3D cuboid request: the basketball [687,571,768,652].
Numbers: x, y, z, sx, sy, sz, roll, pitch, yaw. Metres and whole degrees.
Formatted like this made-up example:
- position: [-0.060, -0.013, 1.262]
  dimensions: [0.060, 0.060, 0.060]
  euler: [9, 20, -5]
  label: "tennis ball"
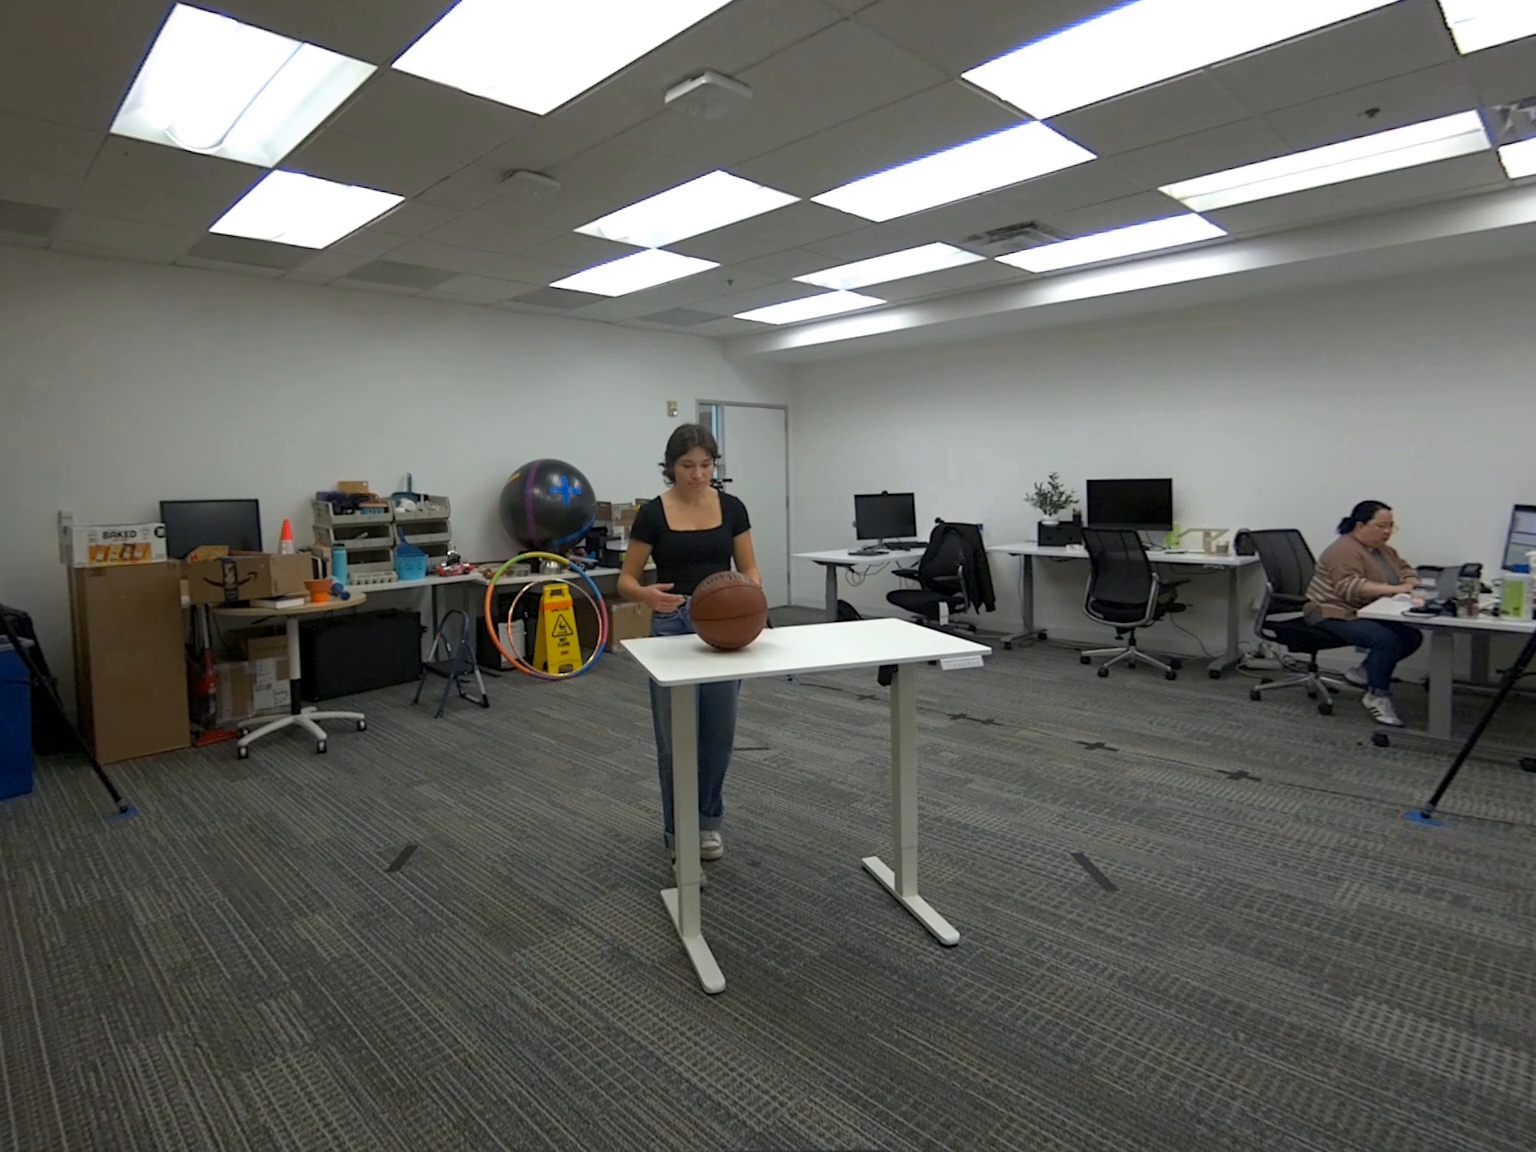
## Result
- position: [-0.126, 0.105, 2.600]
  dimensions: [0.236, 0.235, 0.237]
  euler: [-1, 5, -2]
  label: "basketball"
